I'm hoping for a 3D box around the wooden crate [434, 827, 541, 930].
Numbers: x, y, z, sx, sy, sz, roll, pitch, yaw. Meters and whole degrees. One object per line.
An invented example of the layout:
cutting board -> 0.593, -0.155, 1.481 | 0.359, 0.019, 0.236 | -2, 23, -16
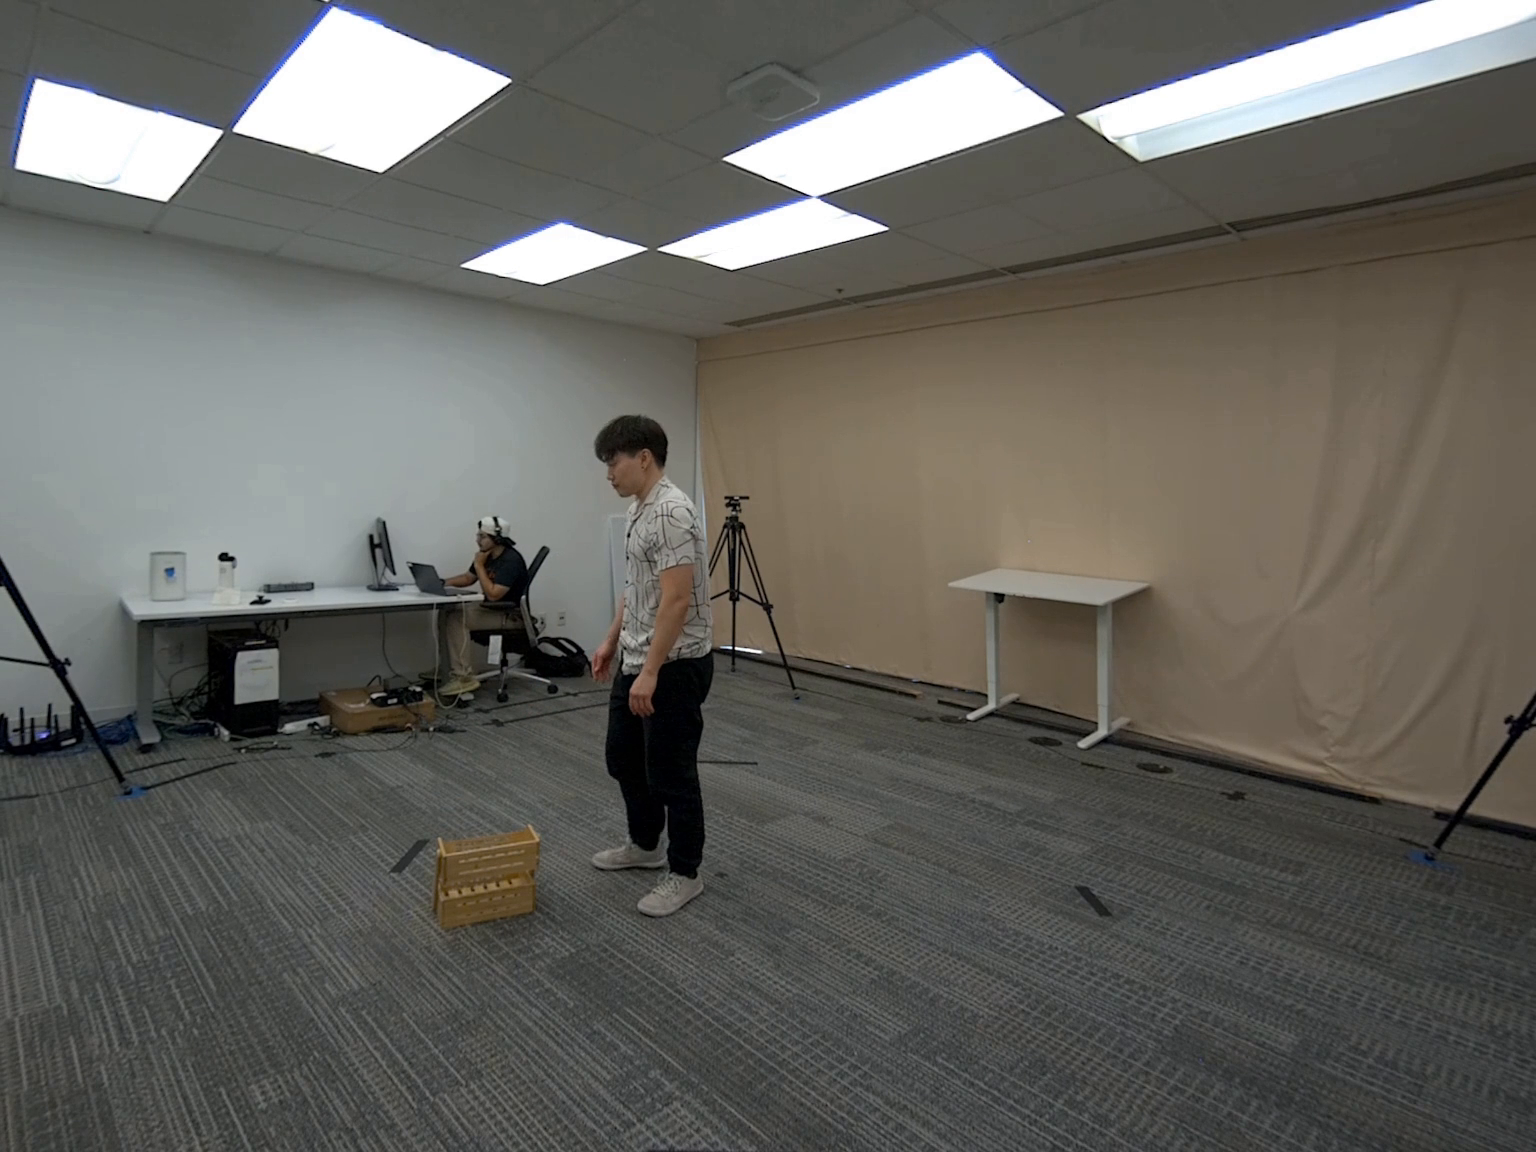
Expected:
wooden crate -> -0.956, 0.978, 2.817 | 0.318, 0.272, 0.309 | -1, 5, -28
